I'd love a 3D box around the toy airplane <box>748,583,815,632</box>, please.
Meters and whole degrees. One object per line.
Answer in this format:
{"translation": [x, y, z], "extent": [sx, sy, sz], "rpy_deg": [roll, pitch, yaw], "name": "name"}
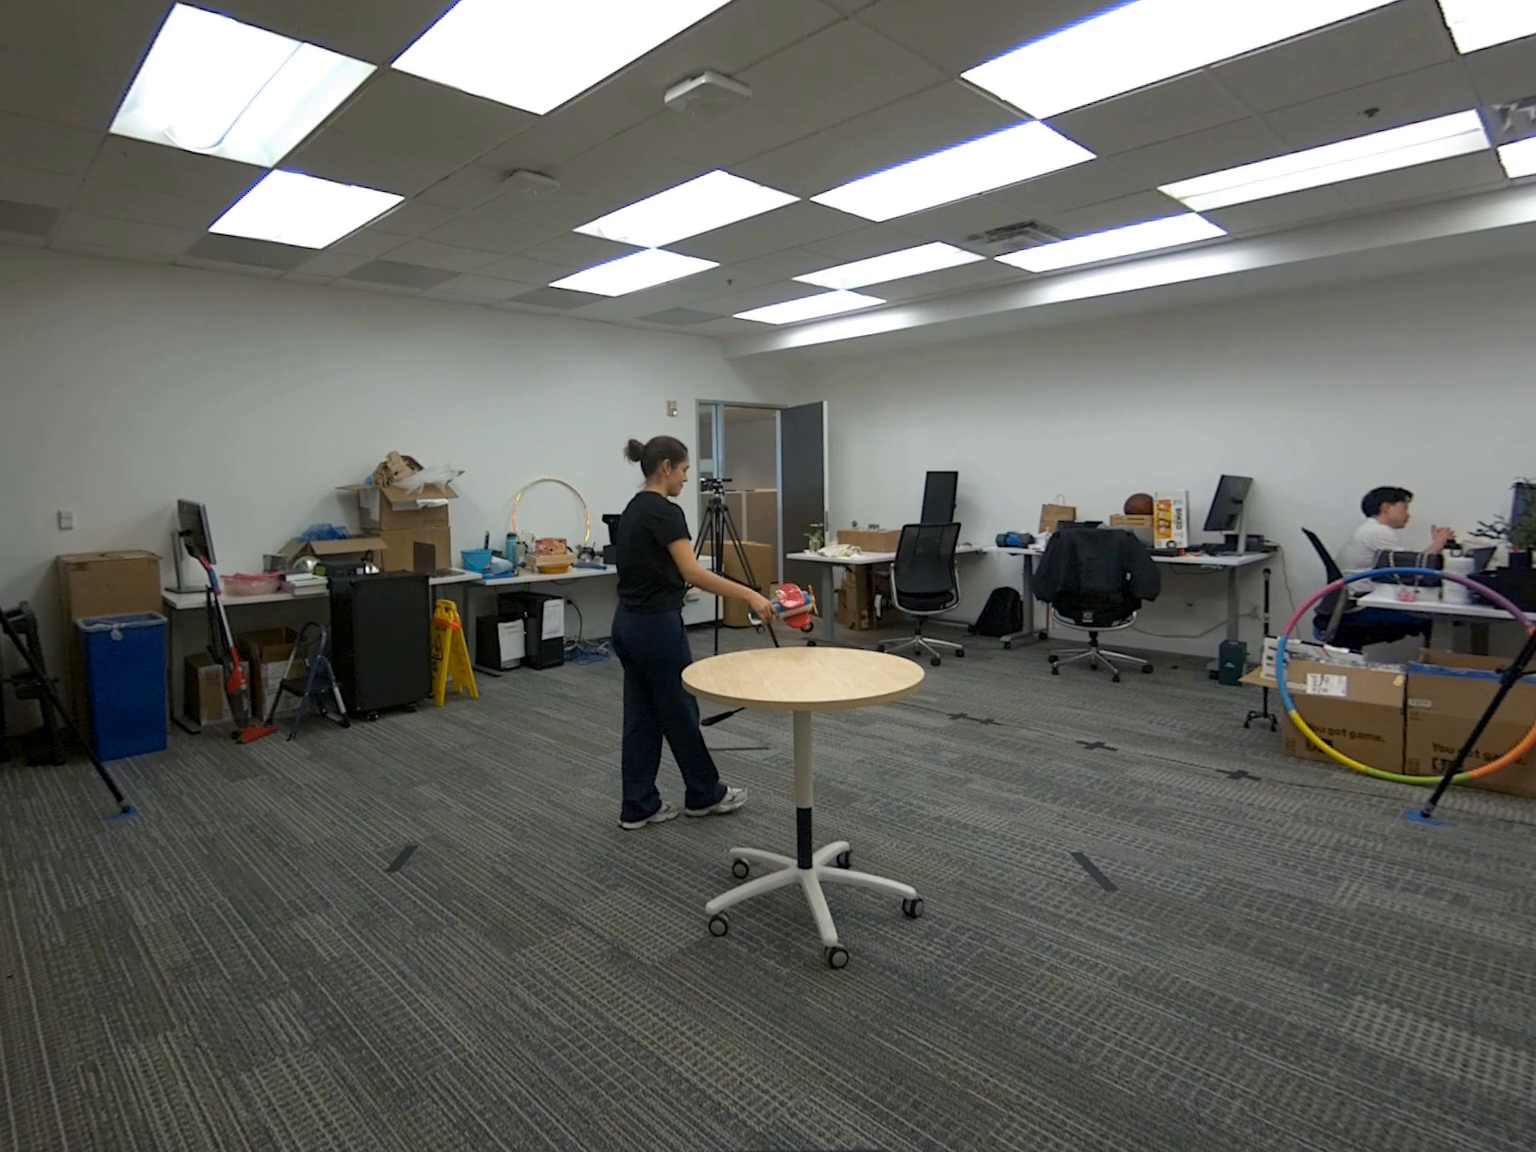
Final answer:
{"translation": [0.062, 0.139, 3.281], "extent": [0.253, 0.154, 0.260], "rpy_deg": [-10, 17, -33], "name": "toy airplane"}
